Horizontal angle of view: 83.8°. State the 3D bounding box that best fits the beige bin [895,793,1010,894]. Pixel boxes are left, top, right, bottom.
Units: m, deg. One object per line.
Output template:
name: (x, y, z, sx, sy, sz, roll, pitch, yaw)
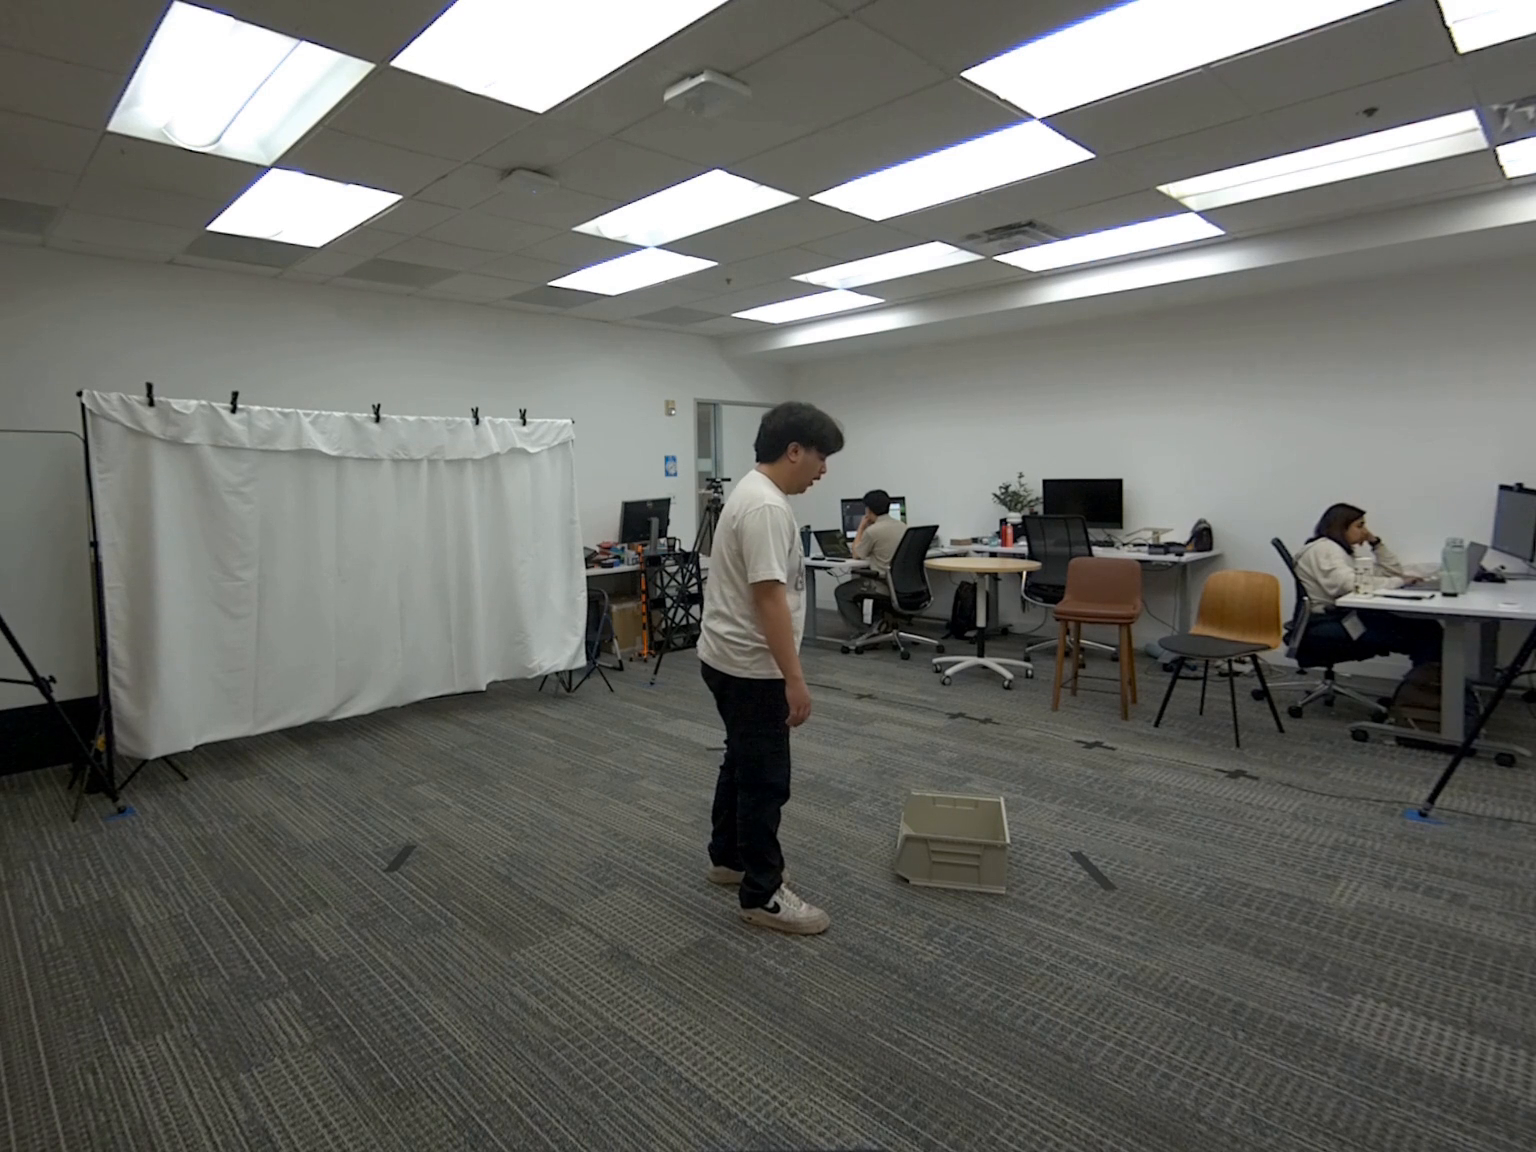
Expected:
beige bin: (0.663, 0.944, 3.078, 0.382, 0.188, 0.418, 1, 5, 13)
